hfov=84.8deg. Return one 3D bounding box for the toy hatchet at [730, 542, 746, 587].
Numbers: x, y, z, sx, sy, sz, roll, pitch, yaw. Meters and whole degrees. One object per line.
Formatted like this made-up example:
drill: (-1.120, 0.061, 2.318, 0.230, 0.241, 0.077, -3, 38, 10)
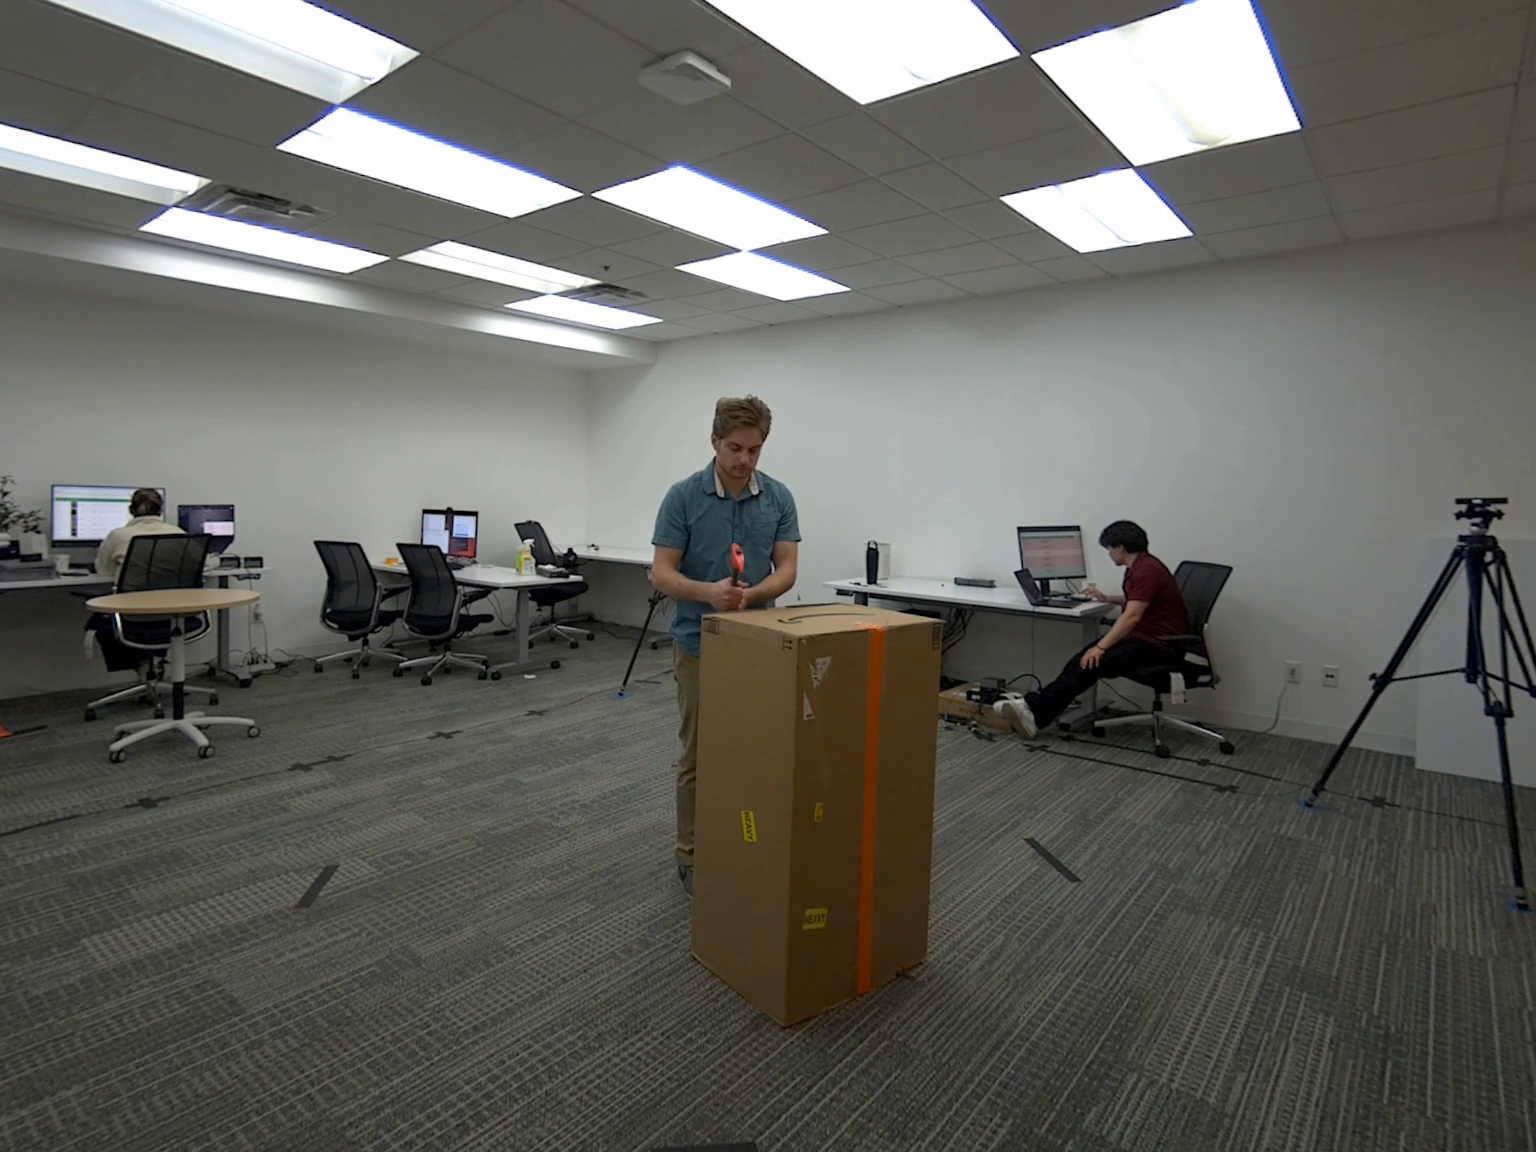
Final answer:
toy hatchet: (-0.122, 0.000, 2.633, 0.029, 0.135, 0.266, 2, -32, -13)
